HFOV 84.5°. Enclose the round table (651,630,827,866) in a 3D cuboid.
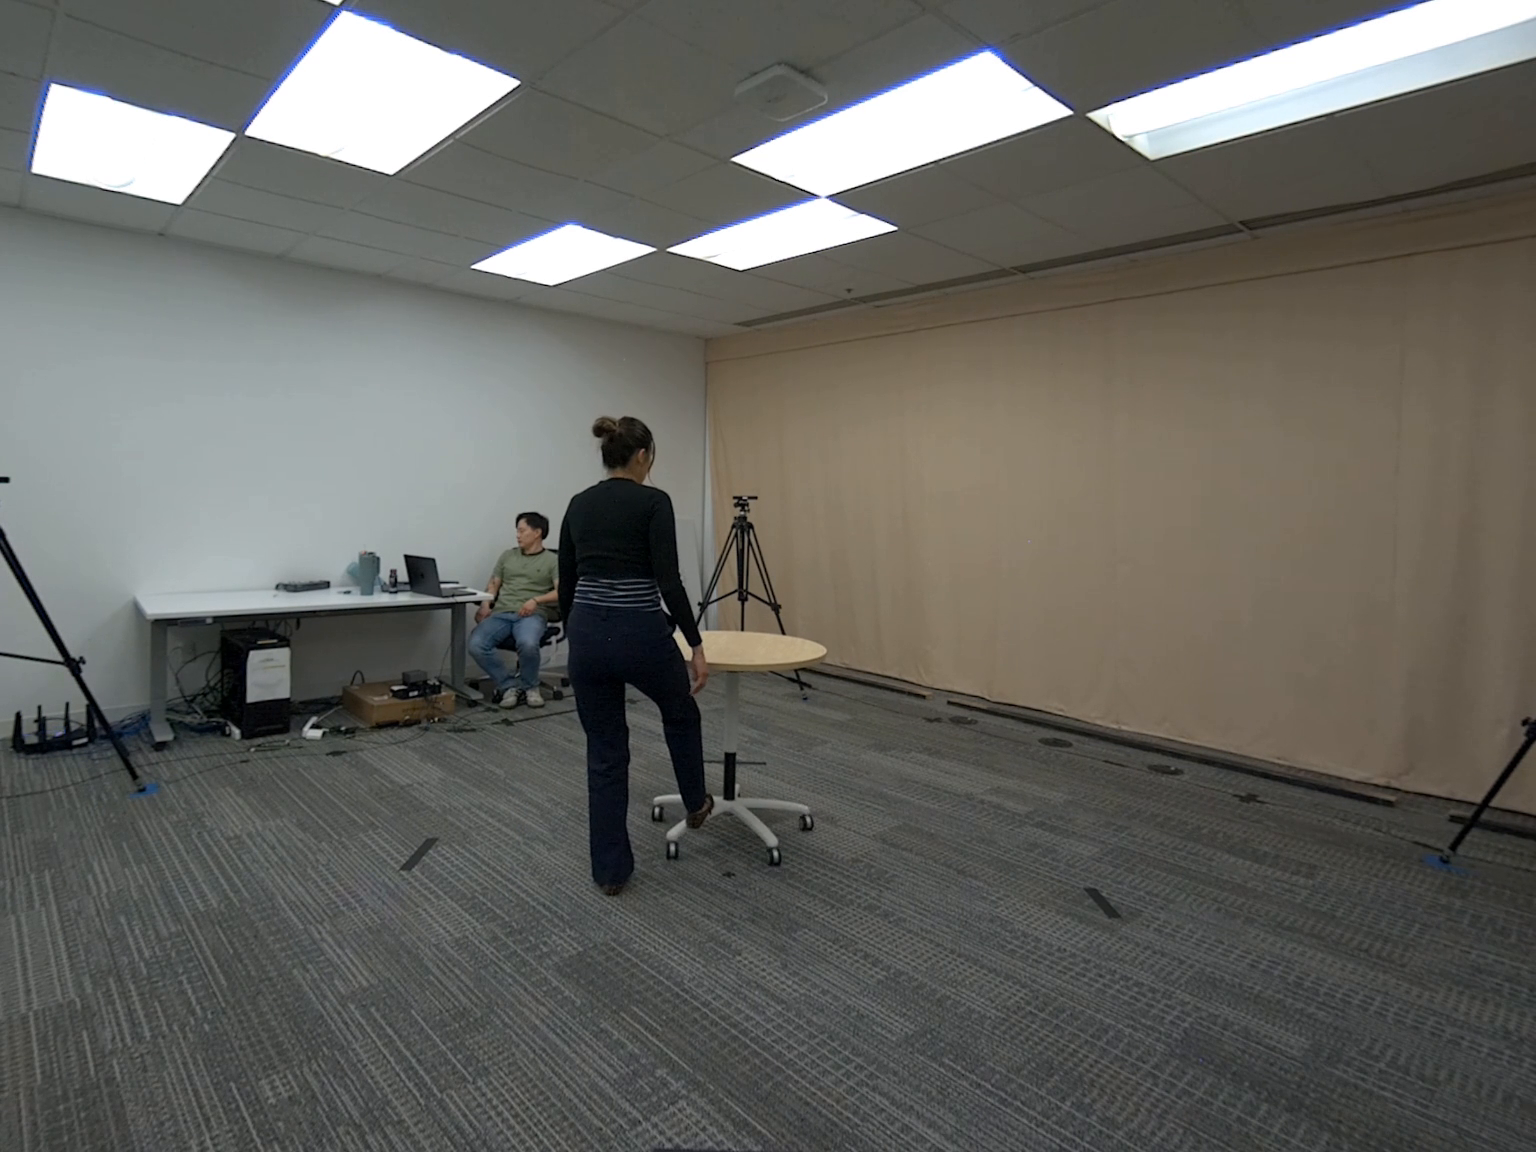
[{"bbox_3d":[-0.158,0.680,3.485,0.763,0.792,0.766,2,4,-1],"label":"round table"}]
